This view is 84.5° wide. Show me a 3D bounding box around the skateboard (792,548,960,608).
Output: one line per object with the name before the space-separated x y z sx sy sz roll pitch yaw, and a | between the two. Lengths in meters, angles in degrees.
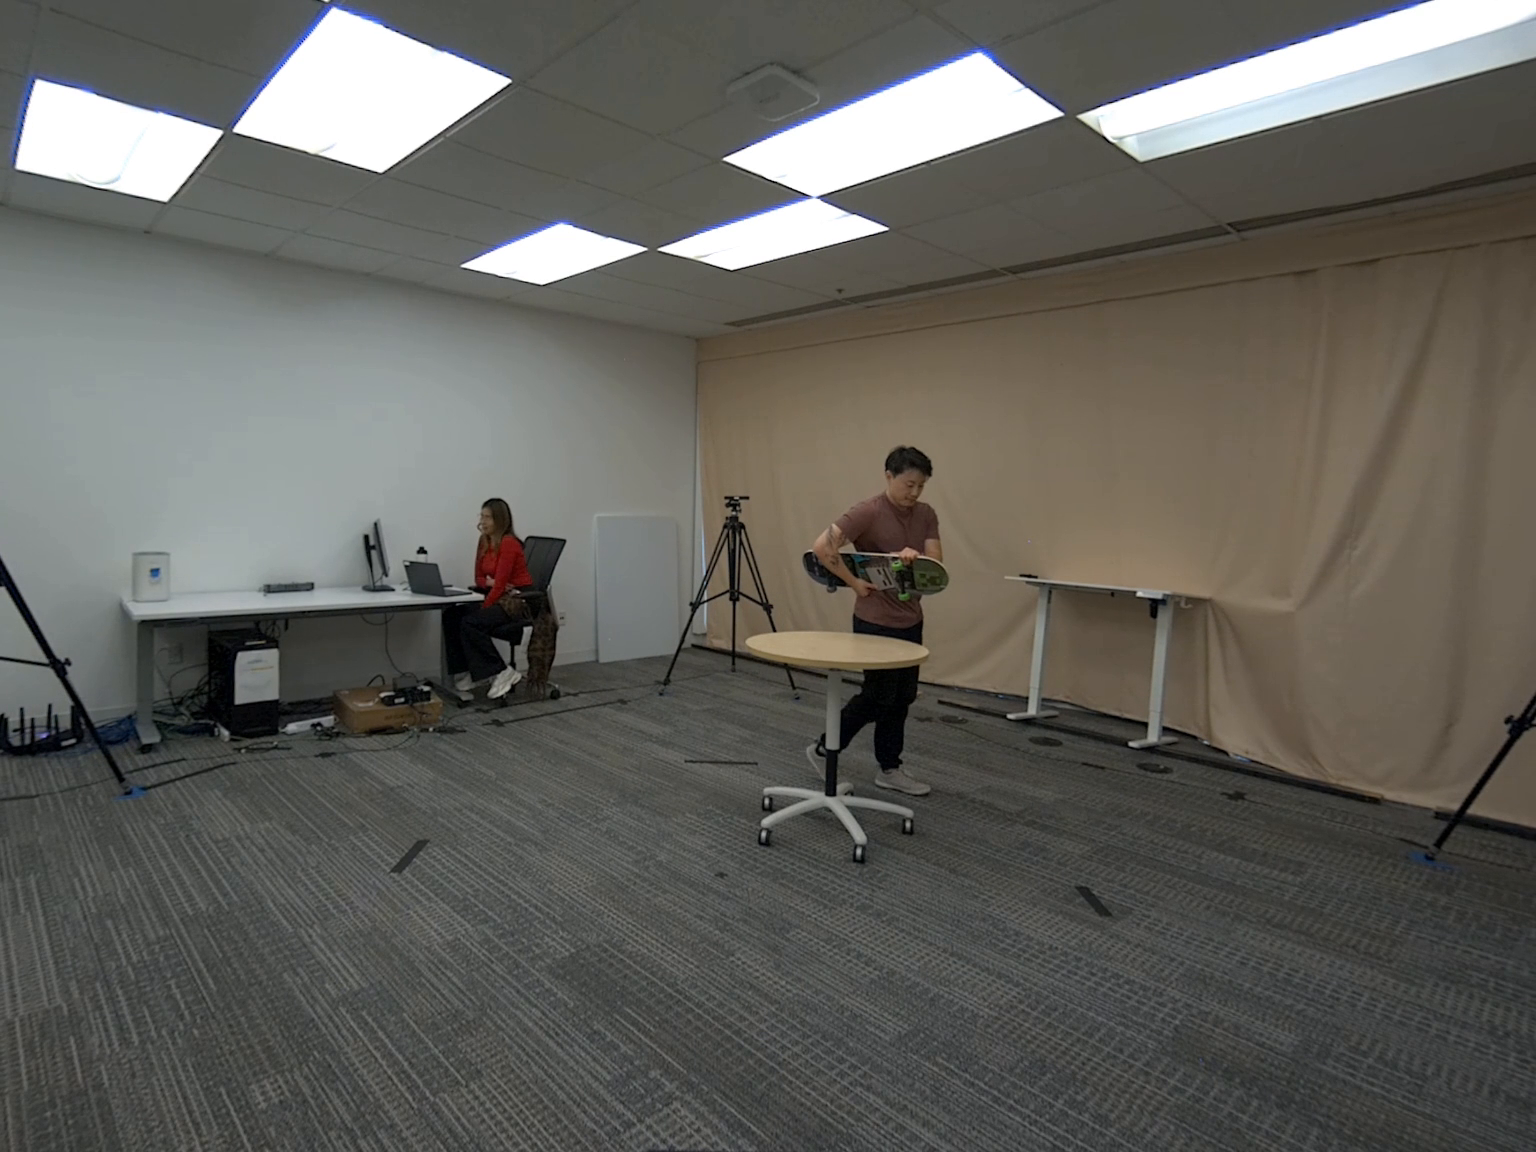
skateboard | 0.475 -0.003 3.887 0.805 0.190 0.109 5 29 41
